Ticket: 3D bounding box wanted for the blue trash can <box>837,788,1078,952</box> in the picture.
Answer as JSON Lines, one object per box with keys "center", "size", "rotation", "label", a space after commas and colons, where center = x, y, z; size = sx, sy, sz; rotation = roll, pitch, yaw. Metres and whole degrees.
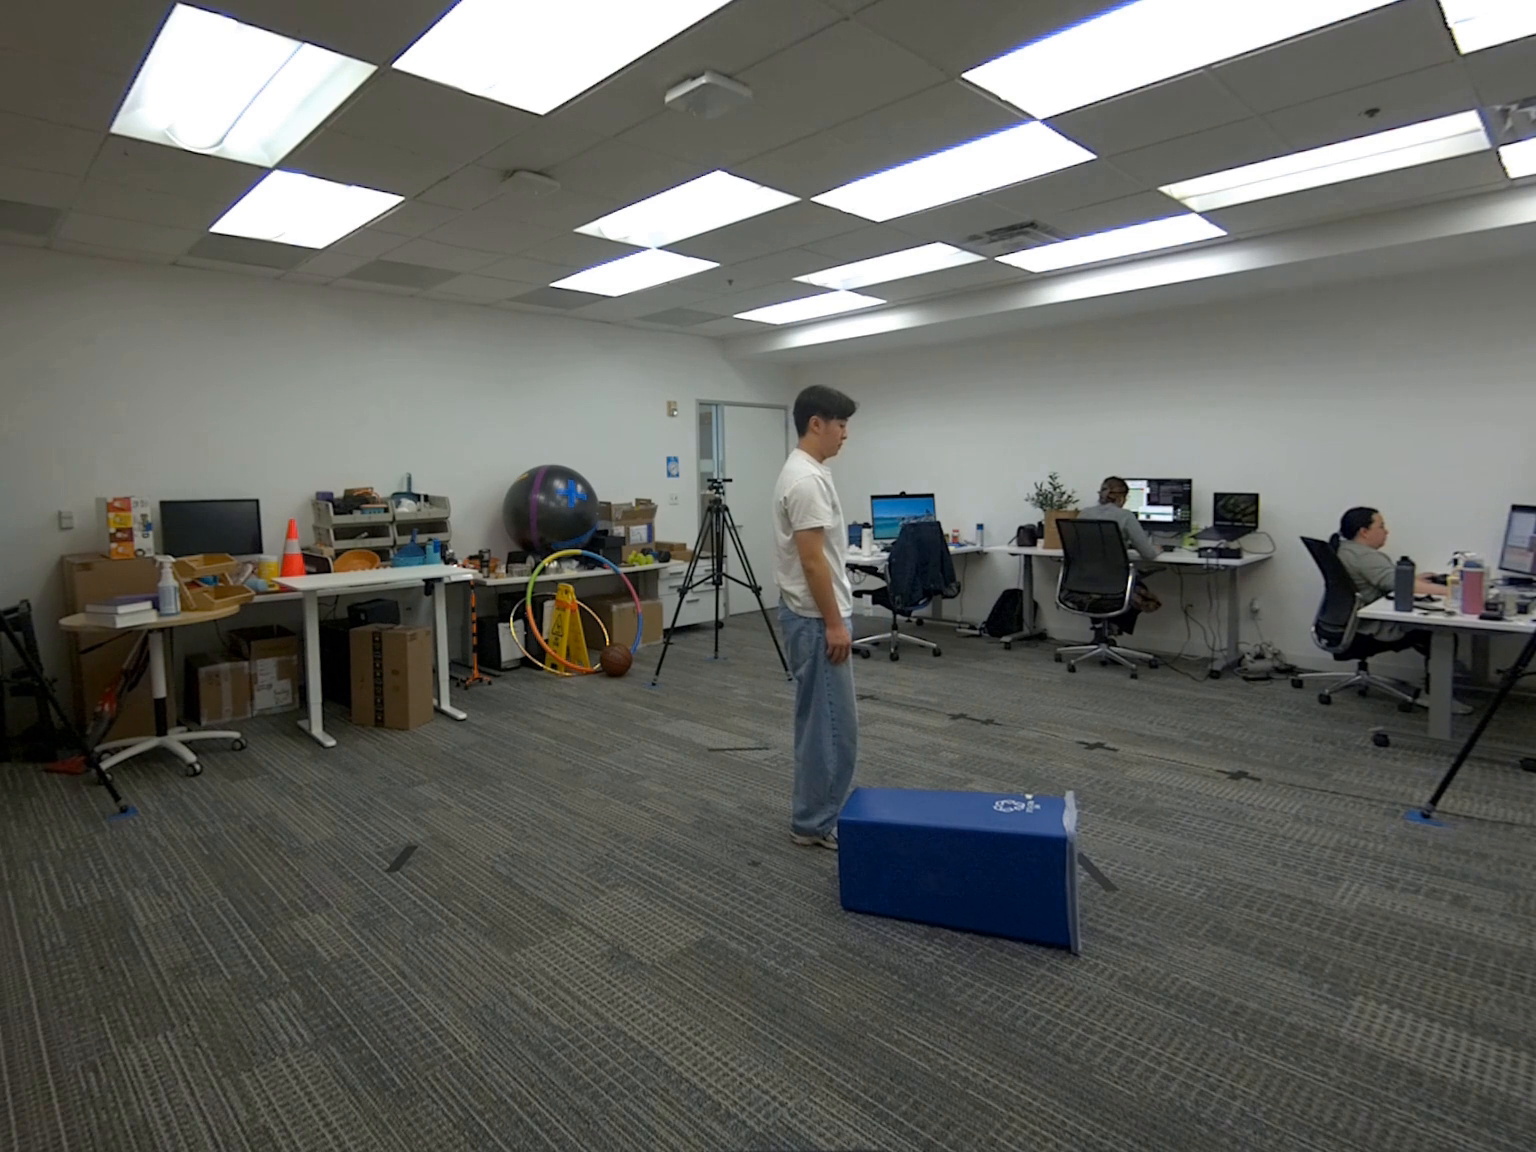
{"center": [0.615, 0.909, 2.743], "size": [0.727, 0.377, 0.368], "rotation": [-2, 4, 20], "label": "blue trash can"}
